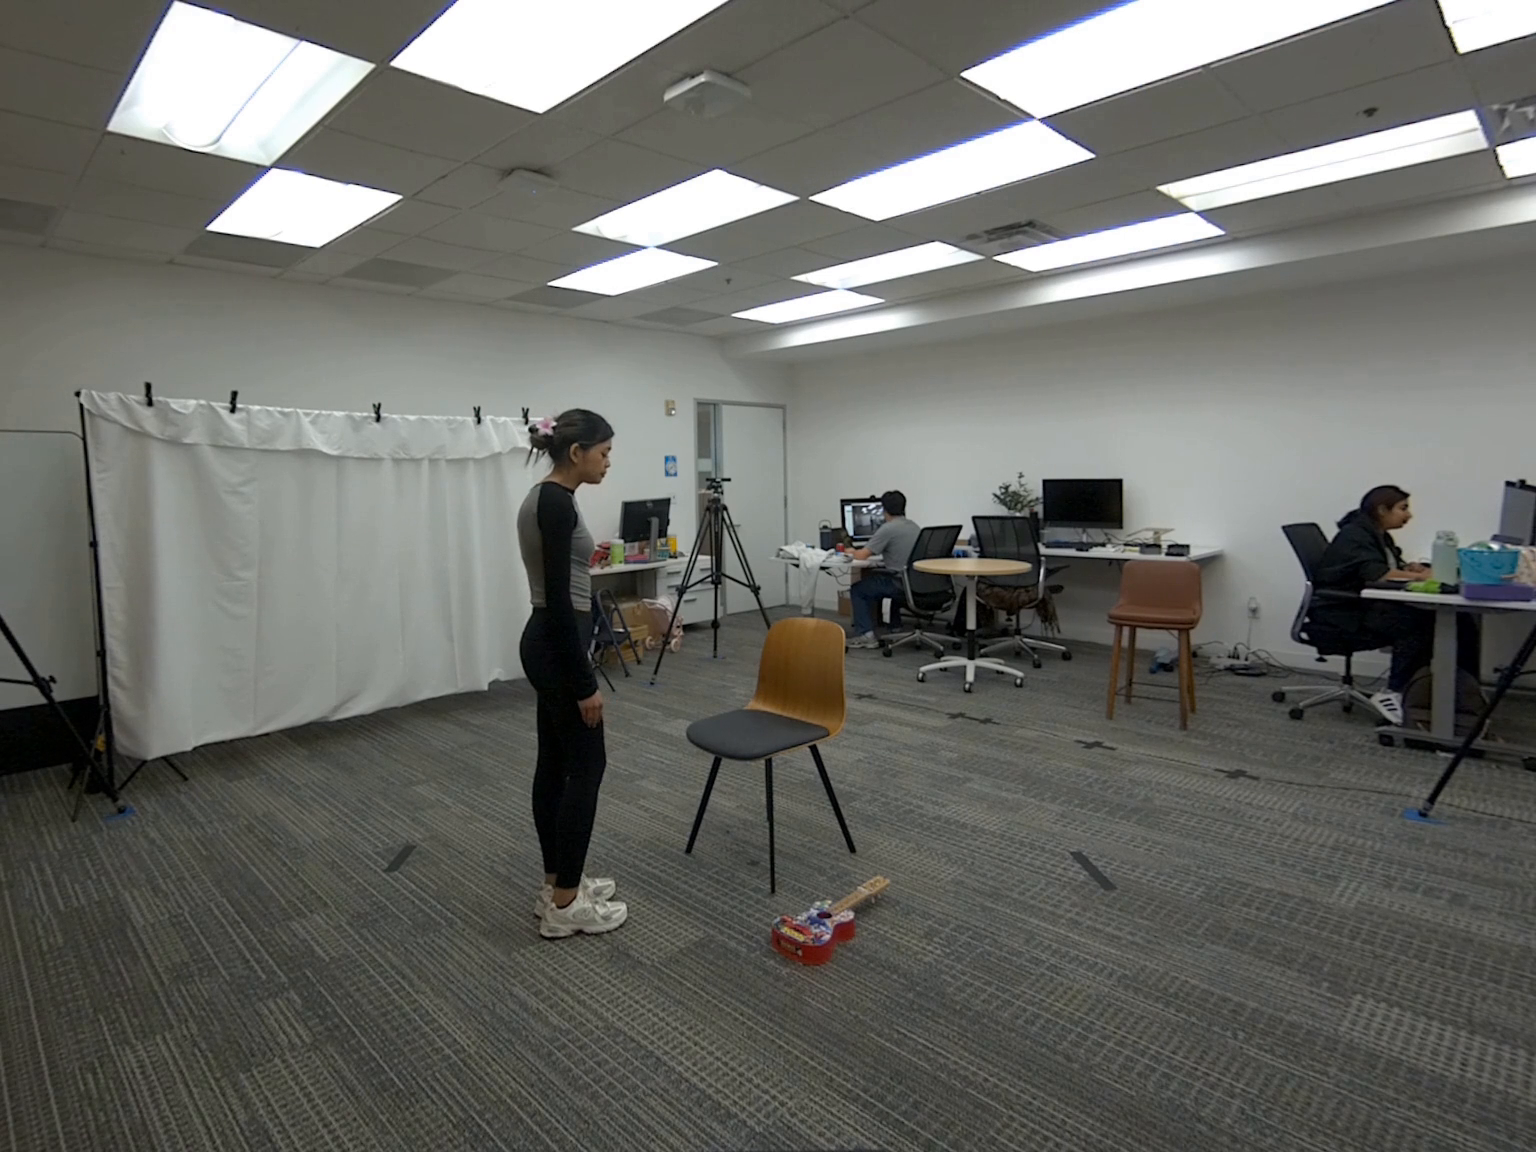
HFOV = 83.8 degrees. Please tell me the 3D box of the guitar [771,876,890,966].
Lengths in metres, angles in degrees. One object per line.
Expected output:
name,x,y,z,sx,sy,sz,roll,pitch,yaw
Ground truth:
guitar,0.238,1.052,2.639,0.485,0.070,0.199,-7,9,-37
